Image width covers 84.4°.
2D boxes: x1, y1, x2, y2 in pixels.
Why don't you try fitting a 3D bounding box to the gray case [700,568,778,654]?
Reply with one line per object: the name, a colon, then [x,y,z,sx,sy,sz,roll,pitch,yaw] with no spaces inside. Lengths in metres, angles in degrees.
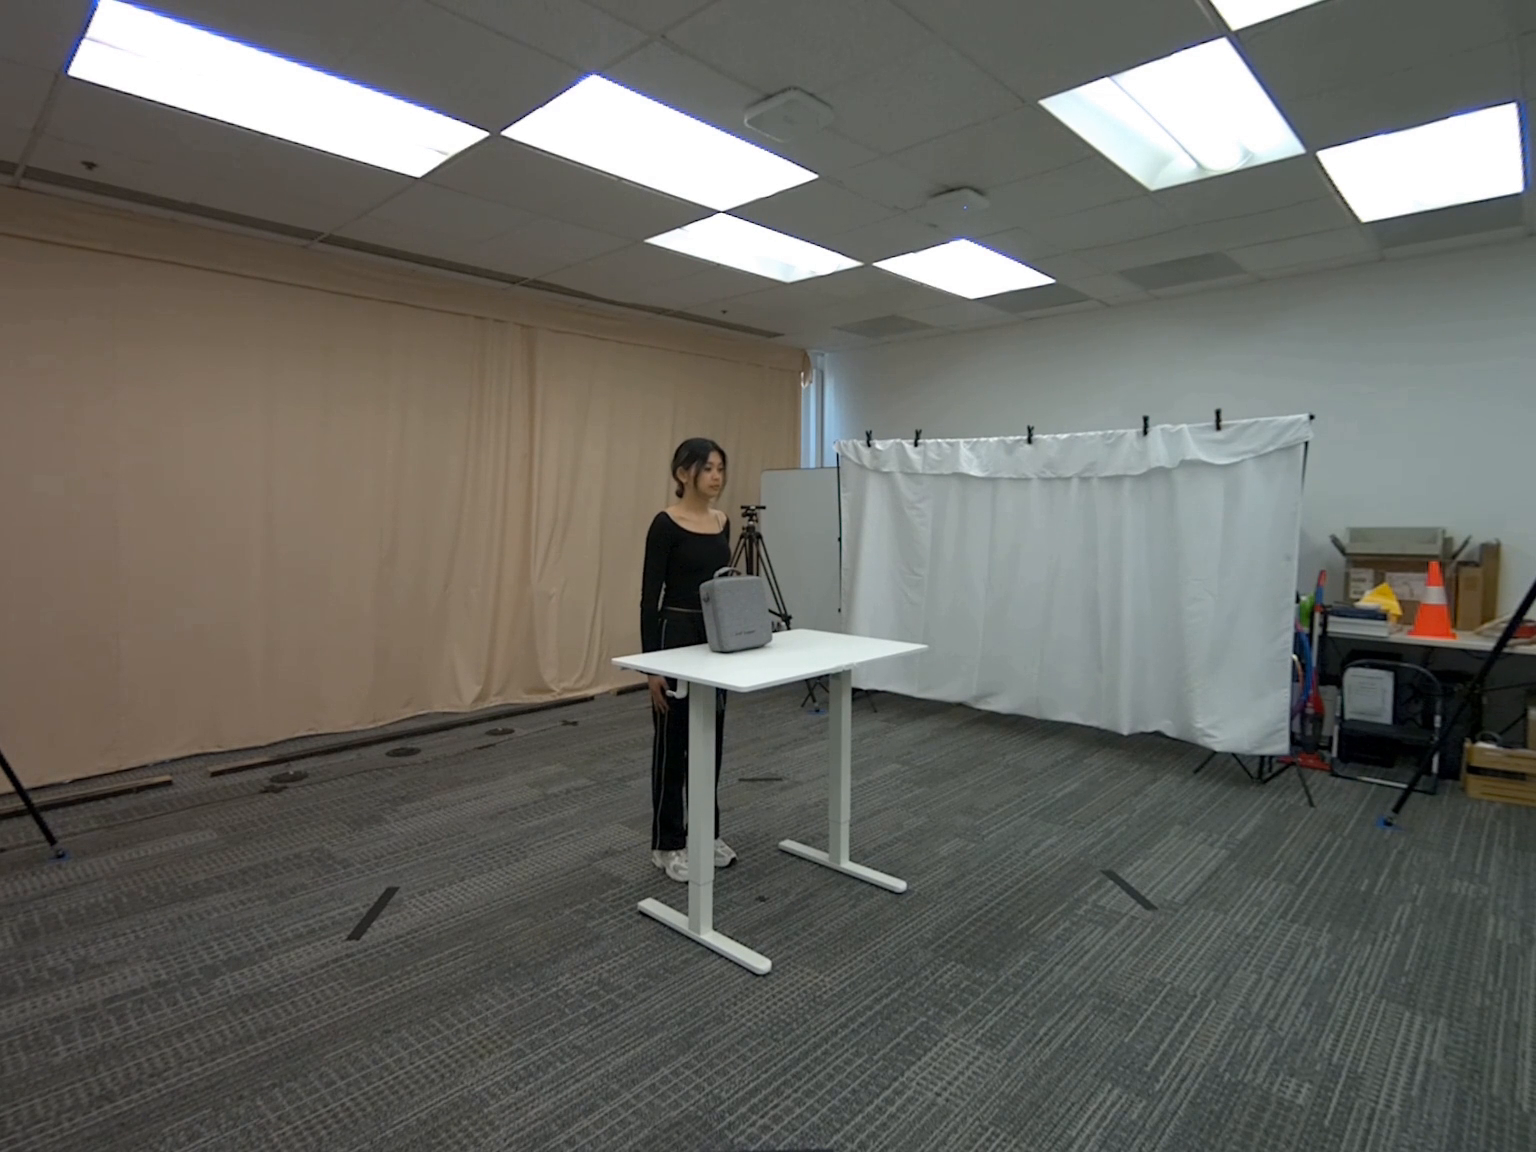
gray case: [-0.113,0.130,2.988,0.249,0.262,0.107,-3,-7,-44]
